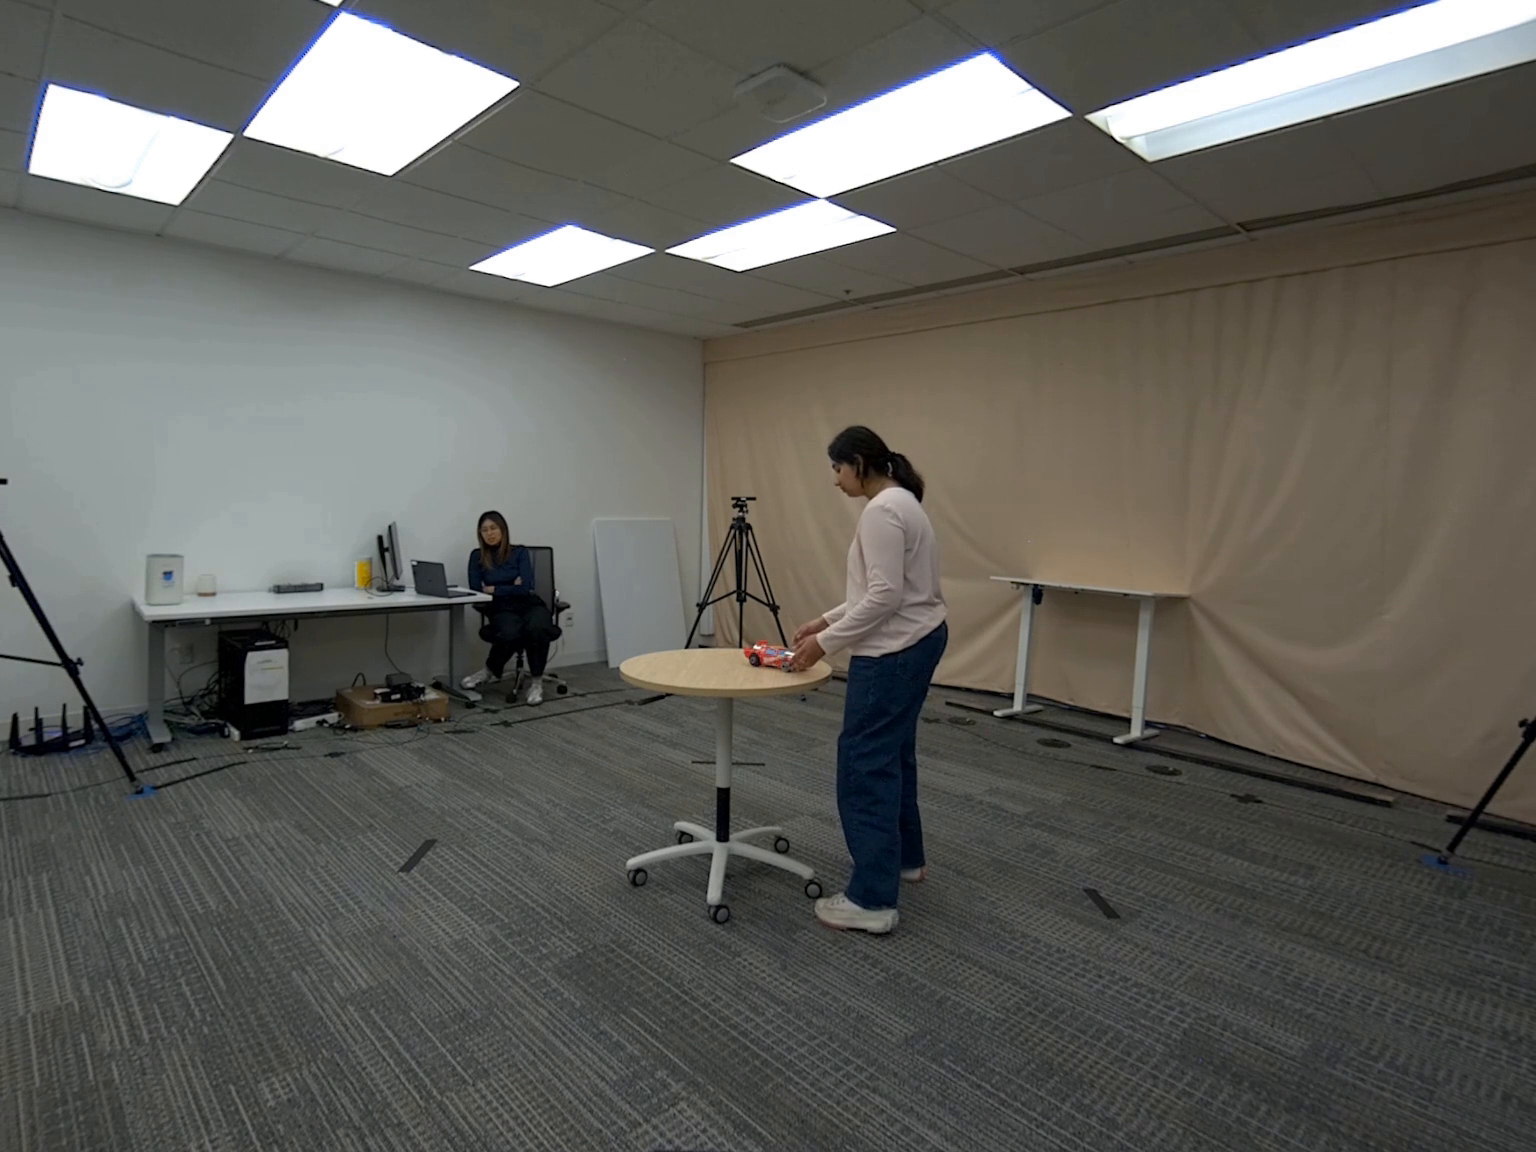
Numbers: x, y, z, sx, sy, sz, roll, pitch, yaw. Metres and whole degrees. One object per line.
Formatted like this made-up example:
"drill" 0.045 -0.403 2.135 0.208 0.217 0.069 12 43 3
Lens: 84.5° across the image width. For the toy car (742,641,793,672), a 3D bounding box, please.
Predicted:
"toy car" 0.017 0.295 3.059 0.262 0.083 0.127 19 14 38
